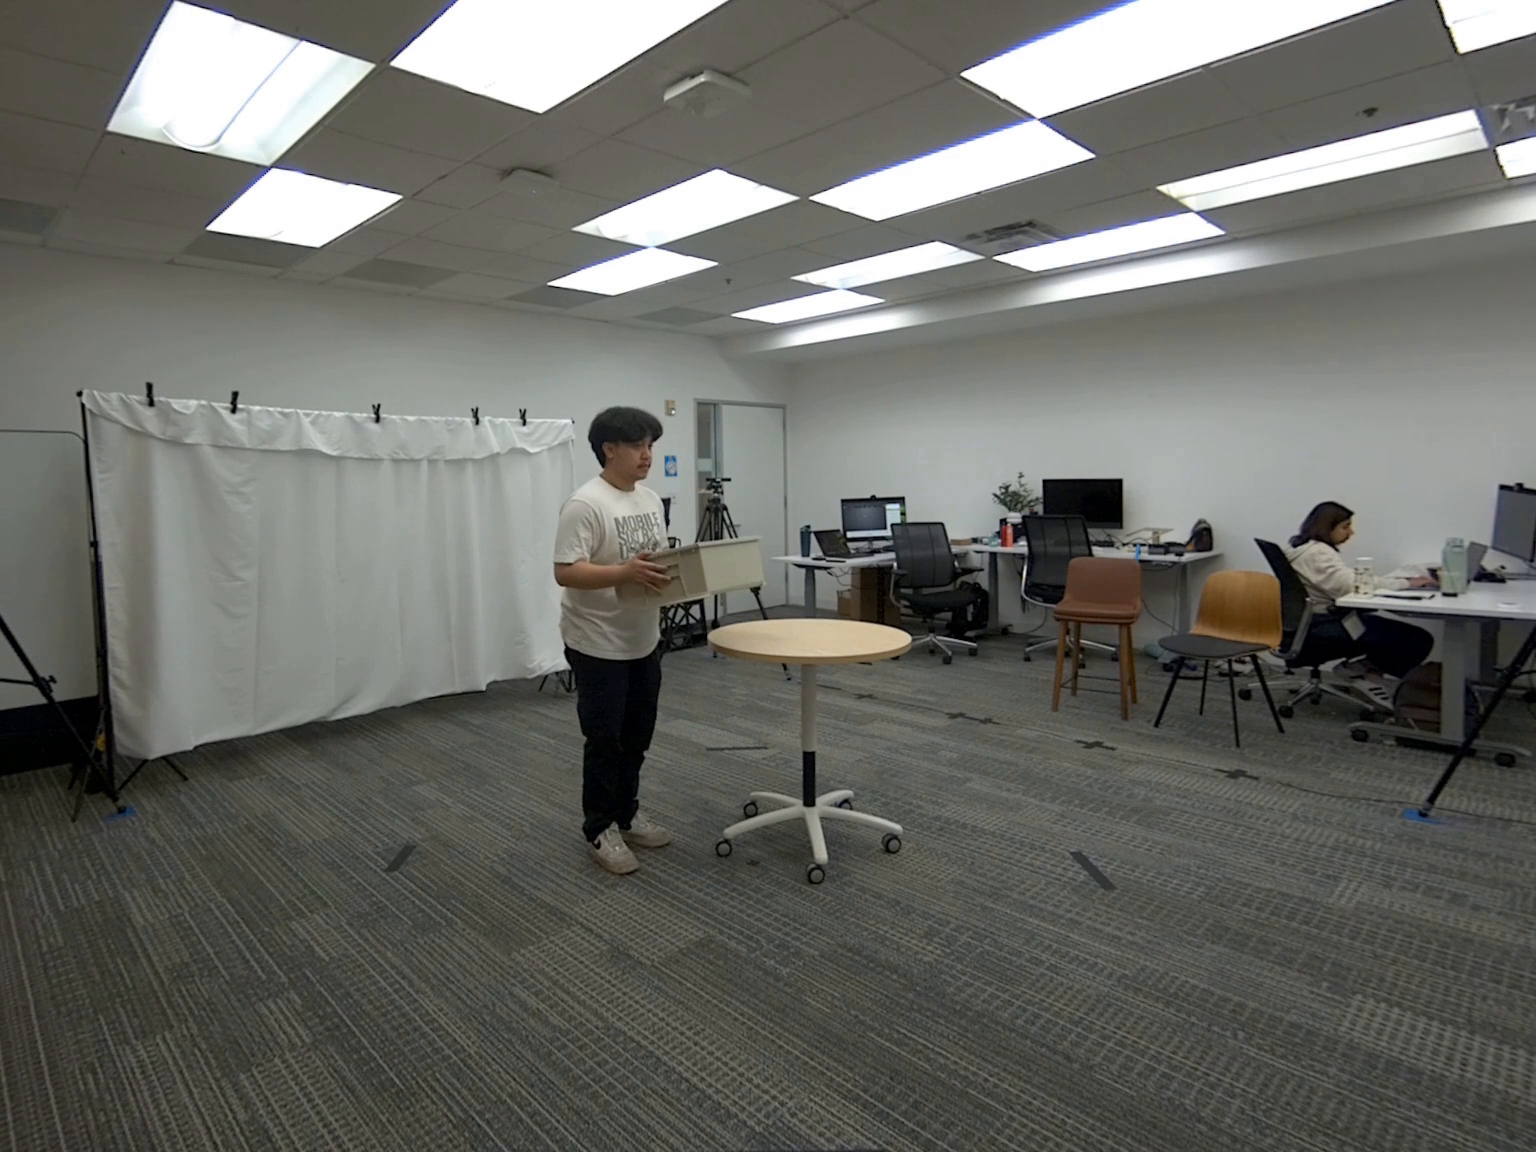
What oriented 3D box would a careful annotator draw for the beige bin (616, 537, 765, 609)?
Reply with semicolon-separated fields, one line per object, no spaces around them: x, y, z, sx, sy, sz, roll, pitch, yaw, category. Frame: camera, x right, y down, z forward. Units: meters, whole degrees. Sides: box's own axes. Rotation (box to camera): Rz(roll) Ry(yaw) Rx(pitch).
-0.263;-0.007;3.010;0.385;0.189;0.413;-10;-1;30;beige bin
